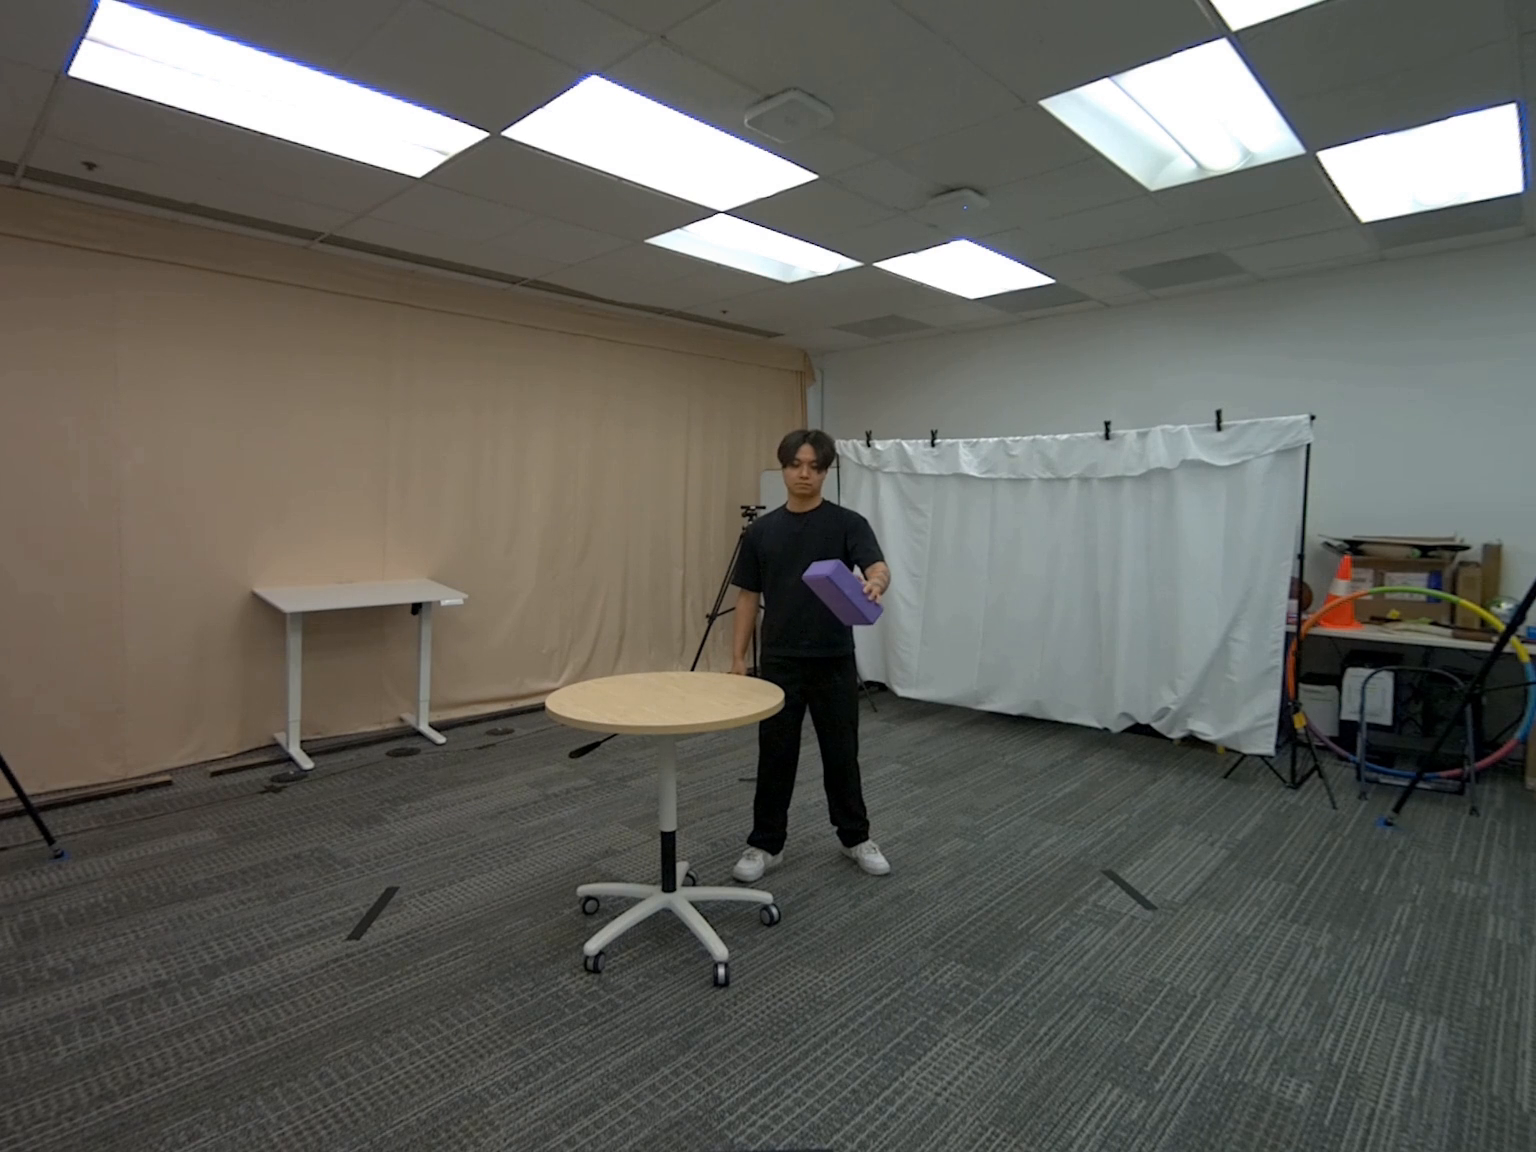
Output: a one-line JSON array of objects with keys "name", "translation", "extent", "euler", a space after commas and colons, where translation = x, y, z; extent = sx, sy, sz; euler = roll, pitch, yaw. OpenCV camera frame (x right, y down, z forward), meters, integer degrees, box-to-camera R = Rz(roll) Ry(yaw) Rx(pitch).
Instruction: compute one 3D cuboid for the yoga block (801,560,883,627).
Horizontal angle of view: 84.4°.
[{"name": "yoga block", "translation": [0.222, 0.056, 2.609], "extent": [0.076, 0.225, 0.152], "euler": [-49, 18, -22]}]
